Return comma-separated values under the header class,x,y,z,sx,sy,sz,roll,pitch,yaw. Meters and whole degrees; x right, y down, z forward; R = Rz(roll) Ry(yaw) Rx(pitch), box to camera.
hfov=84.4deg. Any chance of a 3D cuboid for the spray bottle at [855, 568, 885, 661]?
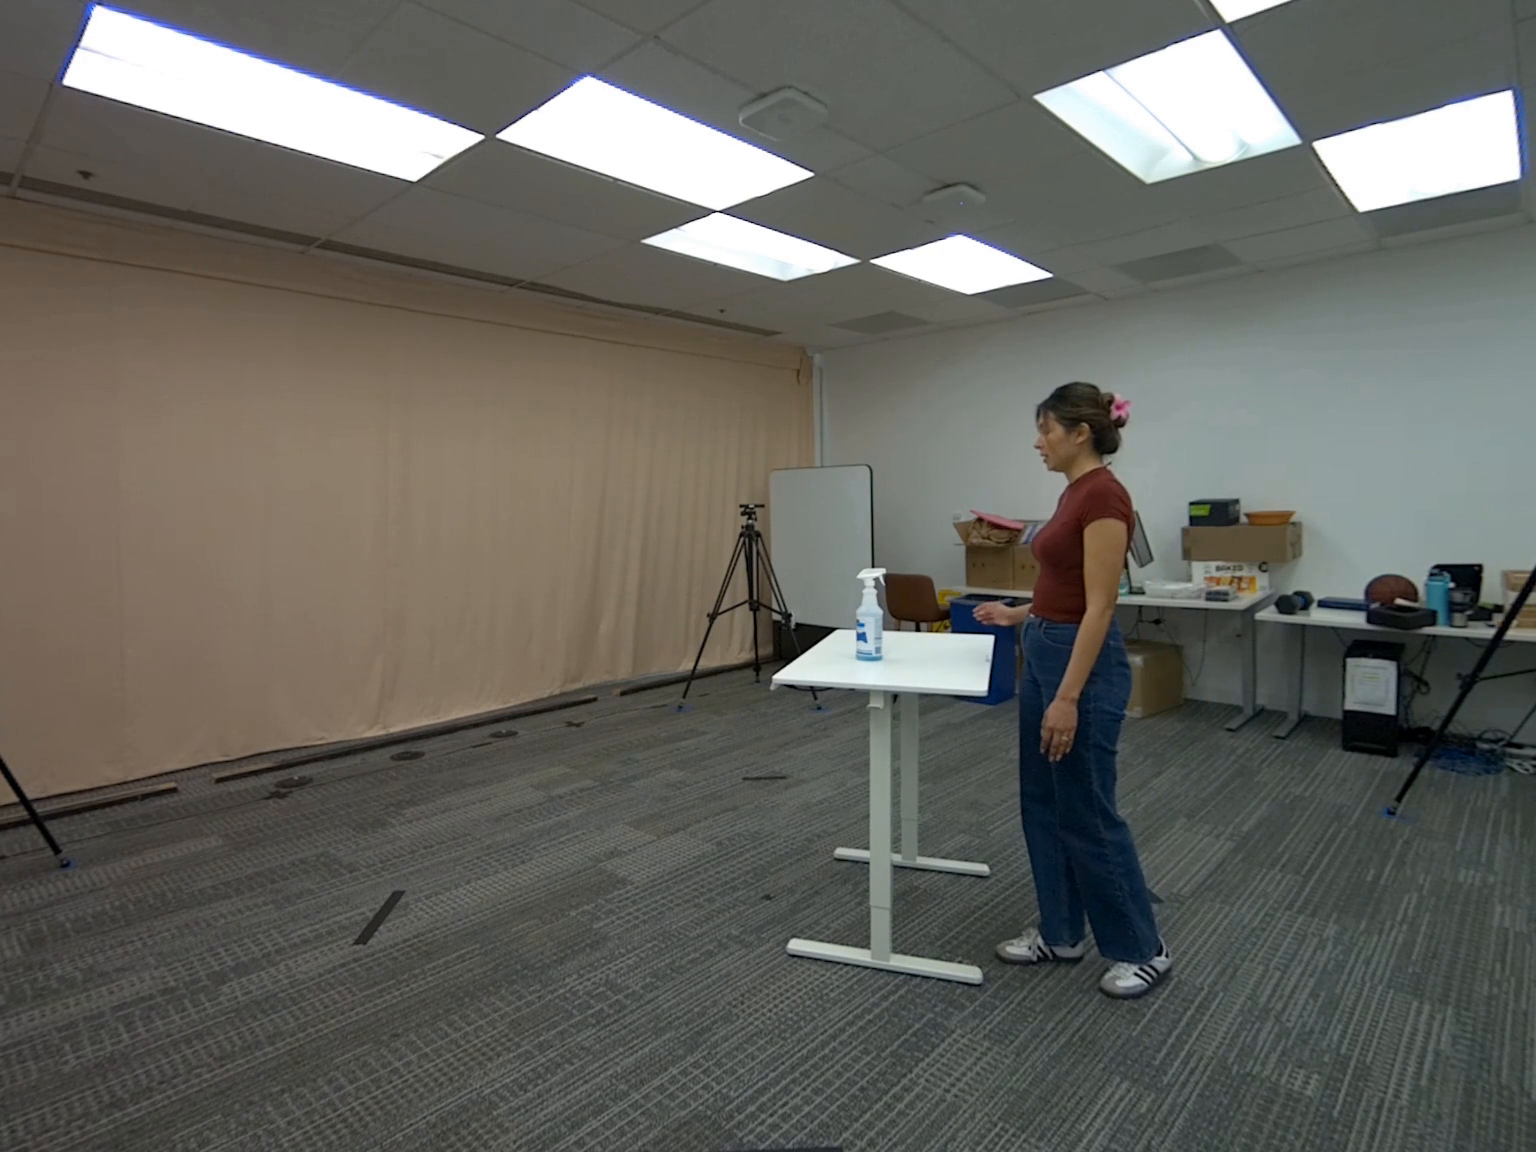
class,x,y,z,sx,sy,sz,roll,pitch,yaw
spray bottle,0.336,0.127,2.735,0.092,0.296,0.085,3,5,25
